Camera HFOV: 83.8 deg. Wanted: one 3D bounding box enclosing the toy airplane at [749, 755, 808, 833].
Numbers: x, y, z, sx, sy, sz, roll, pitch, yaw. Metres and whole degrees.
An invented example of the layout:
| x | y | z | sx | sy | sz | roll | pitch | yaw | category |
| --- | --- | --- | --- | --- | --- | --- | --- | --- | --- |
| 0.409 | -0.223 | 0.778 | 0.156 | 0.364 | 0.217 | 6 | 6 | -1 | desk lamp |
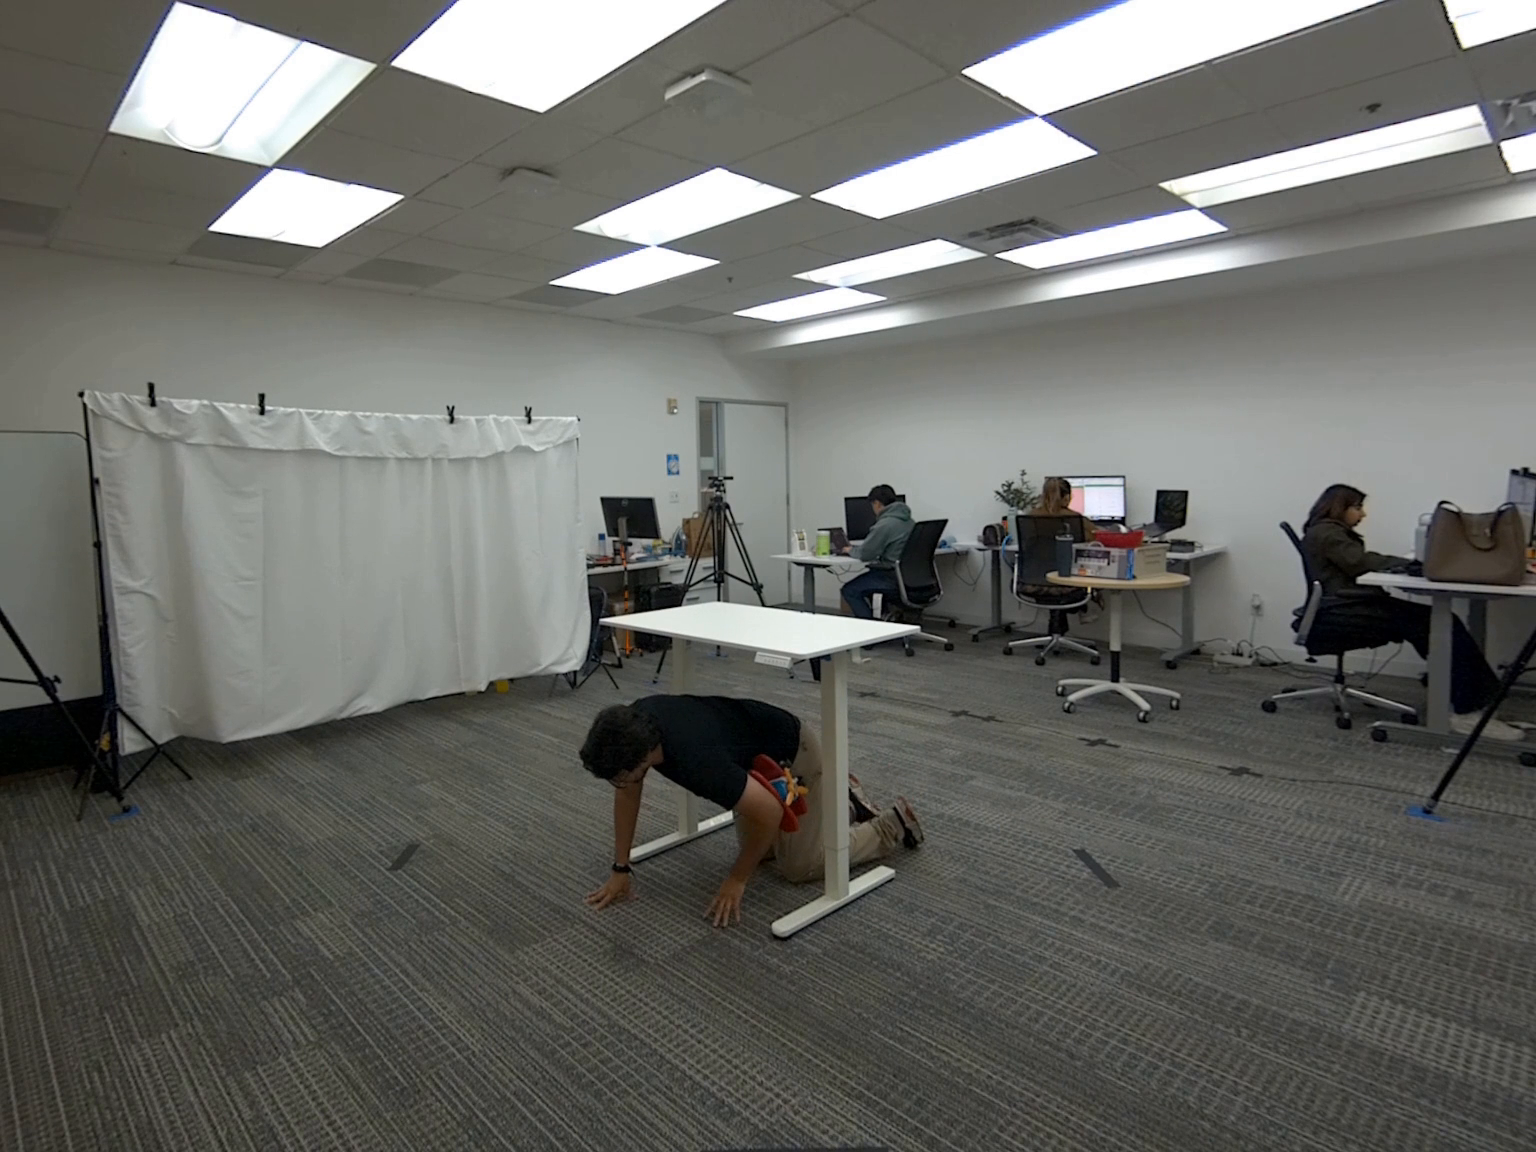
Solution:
| x | y | z | sx | sy | sz | roll | pitch | yaw | category |
| --- | --- | --- | --- | --- | --- | --- | --- | --- | --- |
| 0.000 | 0.720 | 2.802 | 0.253 | 0.257 | 0.157 | 29 | 28 | 4 | toy airplane |
